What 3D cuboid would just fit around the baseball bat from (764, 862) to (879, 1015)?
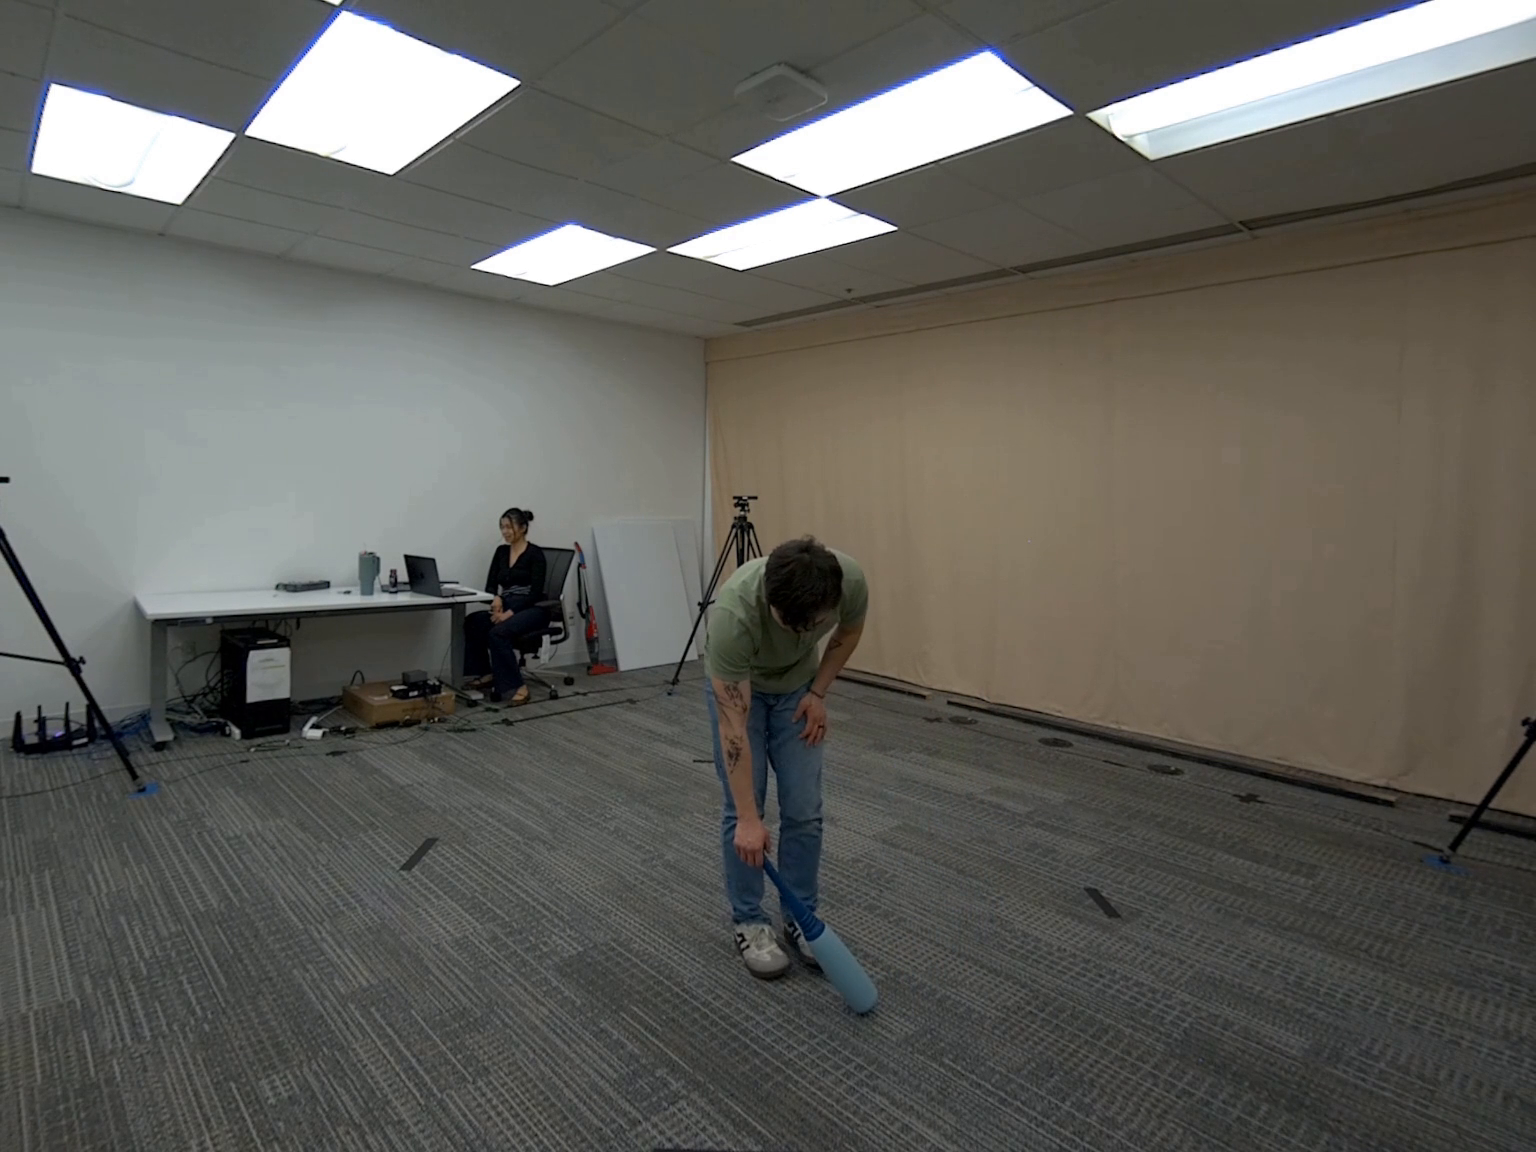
[{"bbox_3d":[0.110,0.954,2.281,0.089,0.541,0.089,-35,3,2],"label":"baseball bat"}]
